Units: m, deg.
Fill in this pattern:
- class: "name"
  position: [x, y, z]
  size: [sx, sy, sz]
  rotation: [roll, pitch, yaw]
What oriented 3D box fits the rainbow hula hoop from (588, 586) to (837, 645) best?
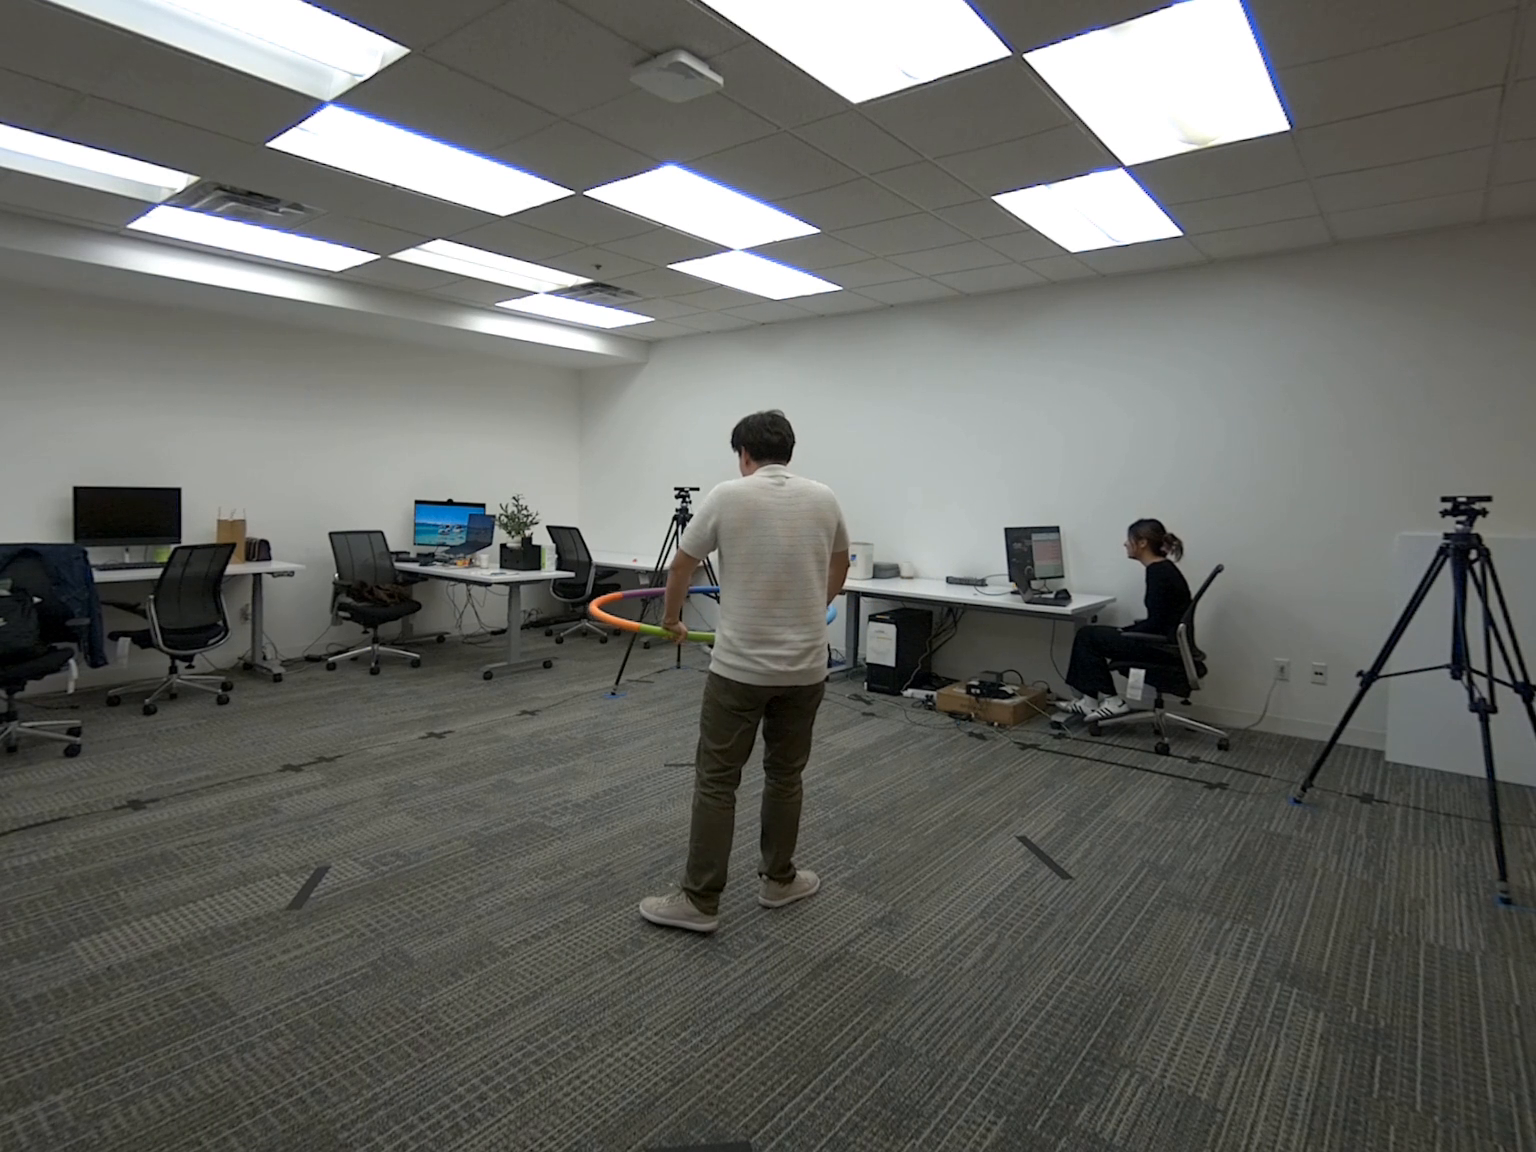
- class: "rainbow hula hoop"
  position: [-0.220, 0.127, 3.442]
  size: [0.978, 0.035, 0.987]
  rotation: [1, 9, -2]
